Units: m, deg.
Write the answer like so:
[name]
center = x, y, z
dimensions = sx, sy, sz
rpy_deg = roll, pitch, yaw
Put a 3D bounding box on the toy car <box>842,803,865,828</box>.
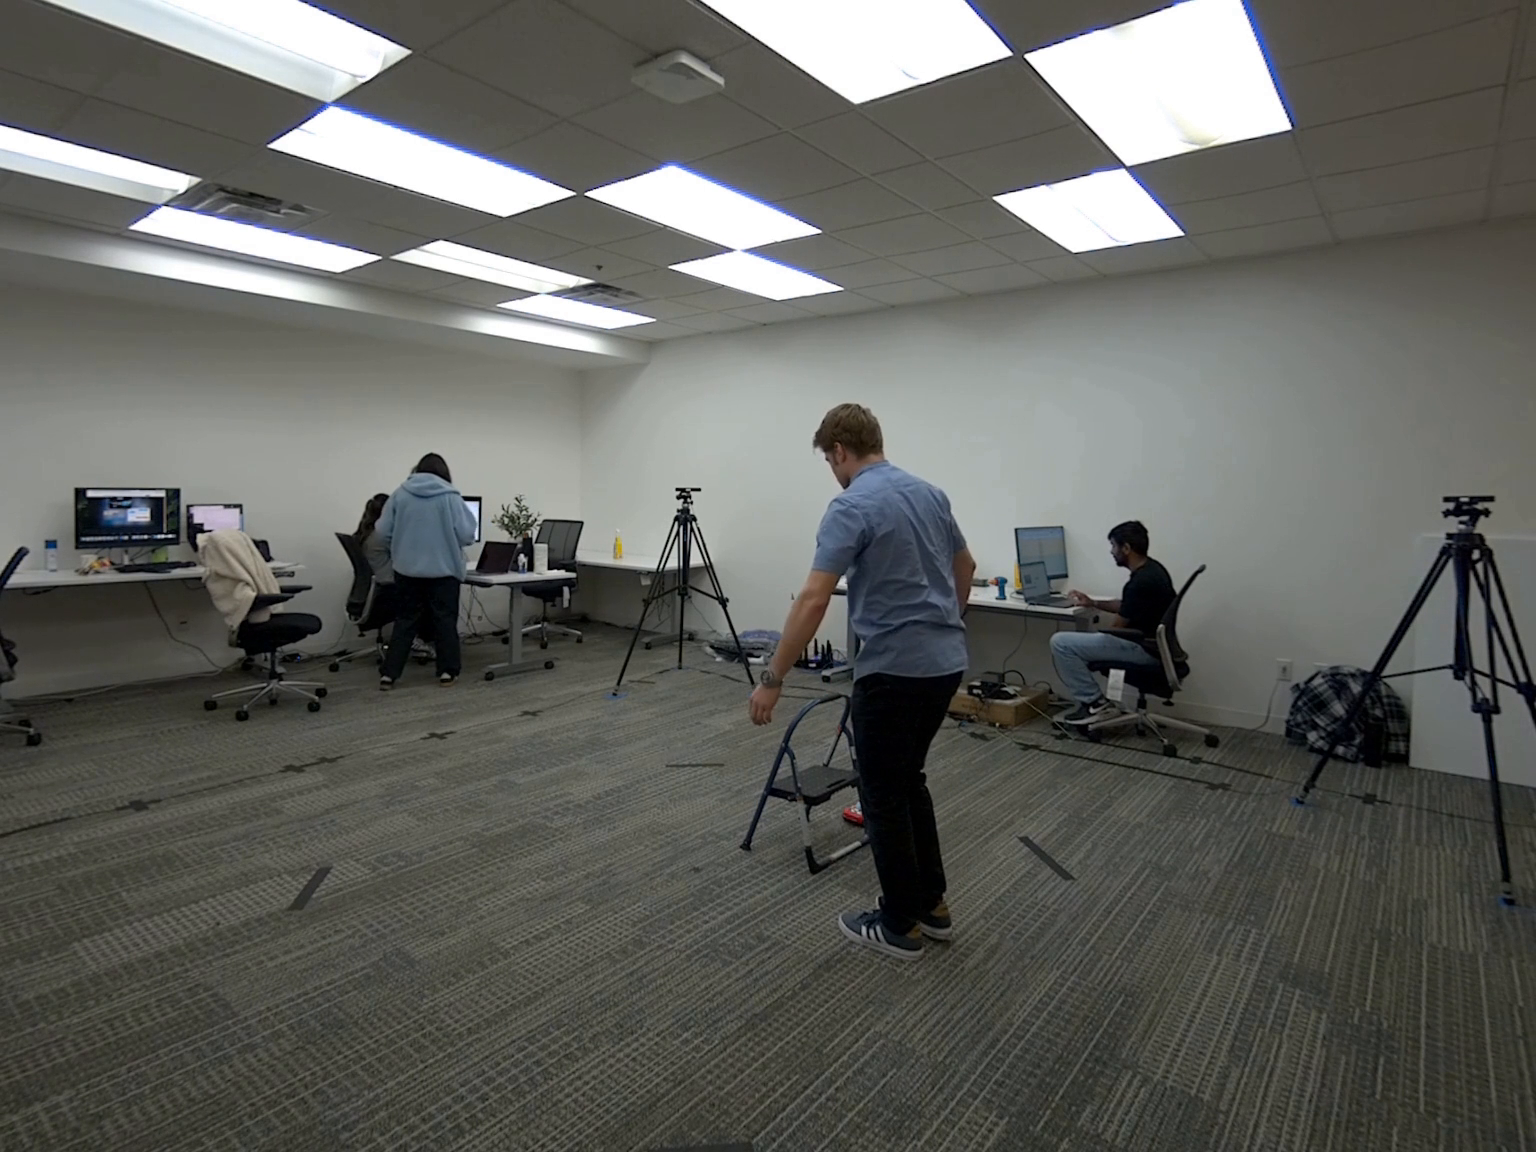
[toy car]
center = 0.428, 0.995, 3.633
dimensions = 0.249, 0.082, 0.135
rpy_deg = -19, 18, -41
